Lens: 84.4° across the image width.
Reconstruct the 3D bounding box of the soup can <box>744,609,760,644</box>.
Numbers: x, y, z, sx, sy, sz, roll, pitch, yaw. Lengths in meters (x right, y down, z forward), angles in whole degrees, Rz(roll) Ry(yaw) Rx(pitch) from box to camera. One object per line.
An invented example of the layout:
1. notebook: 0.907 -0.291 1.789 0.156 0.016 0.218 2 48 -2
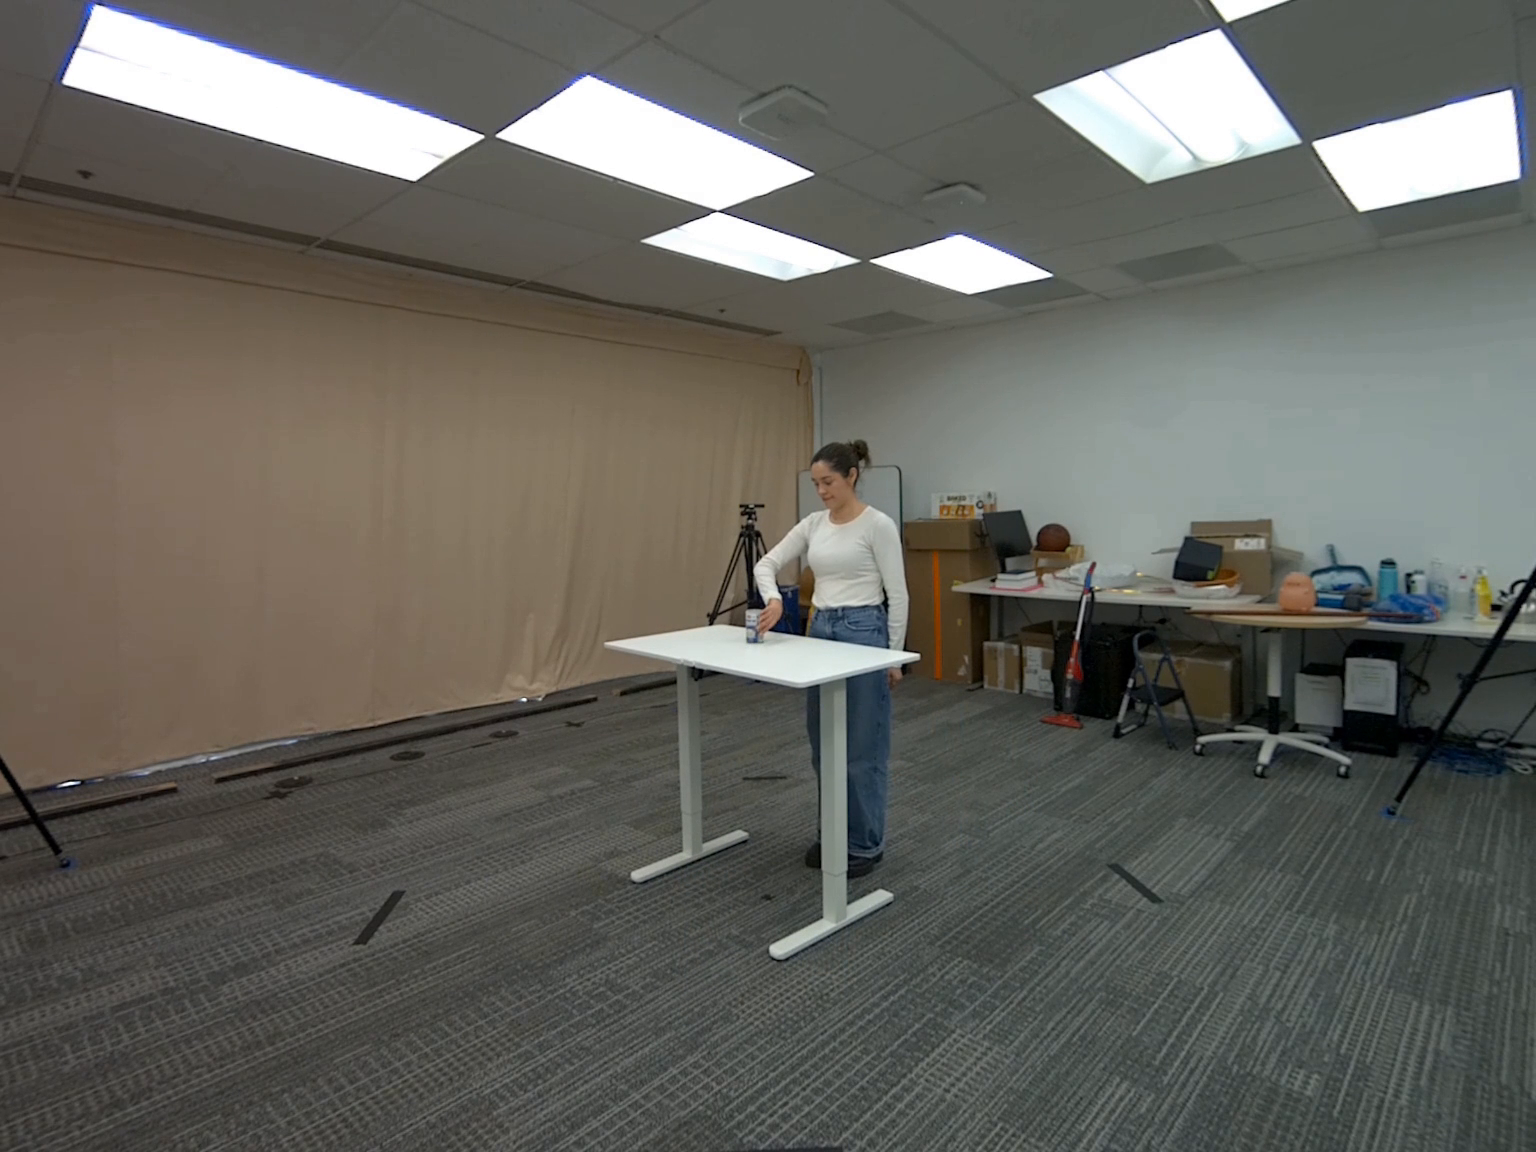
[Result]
1. soup can: -0.045 0.188 3.118 0.067 0.121 0.067 -1 5 -2
